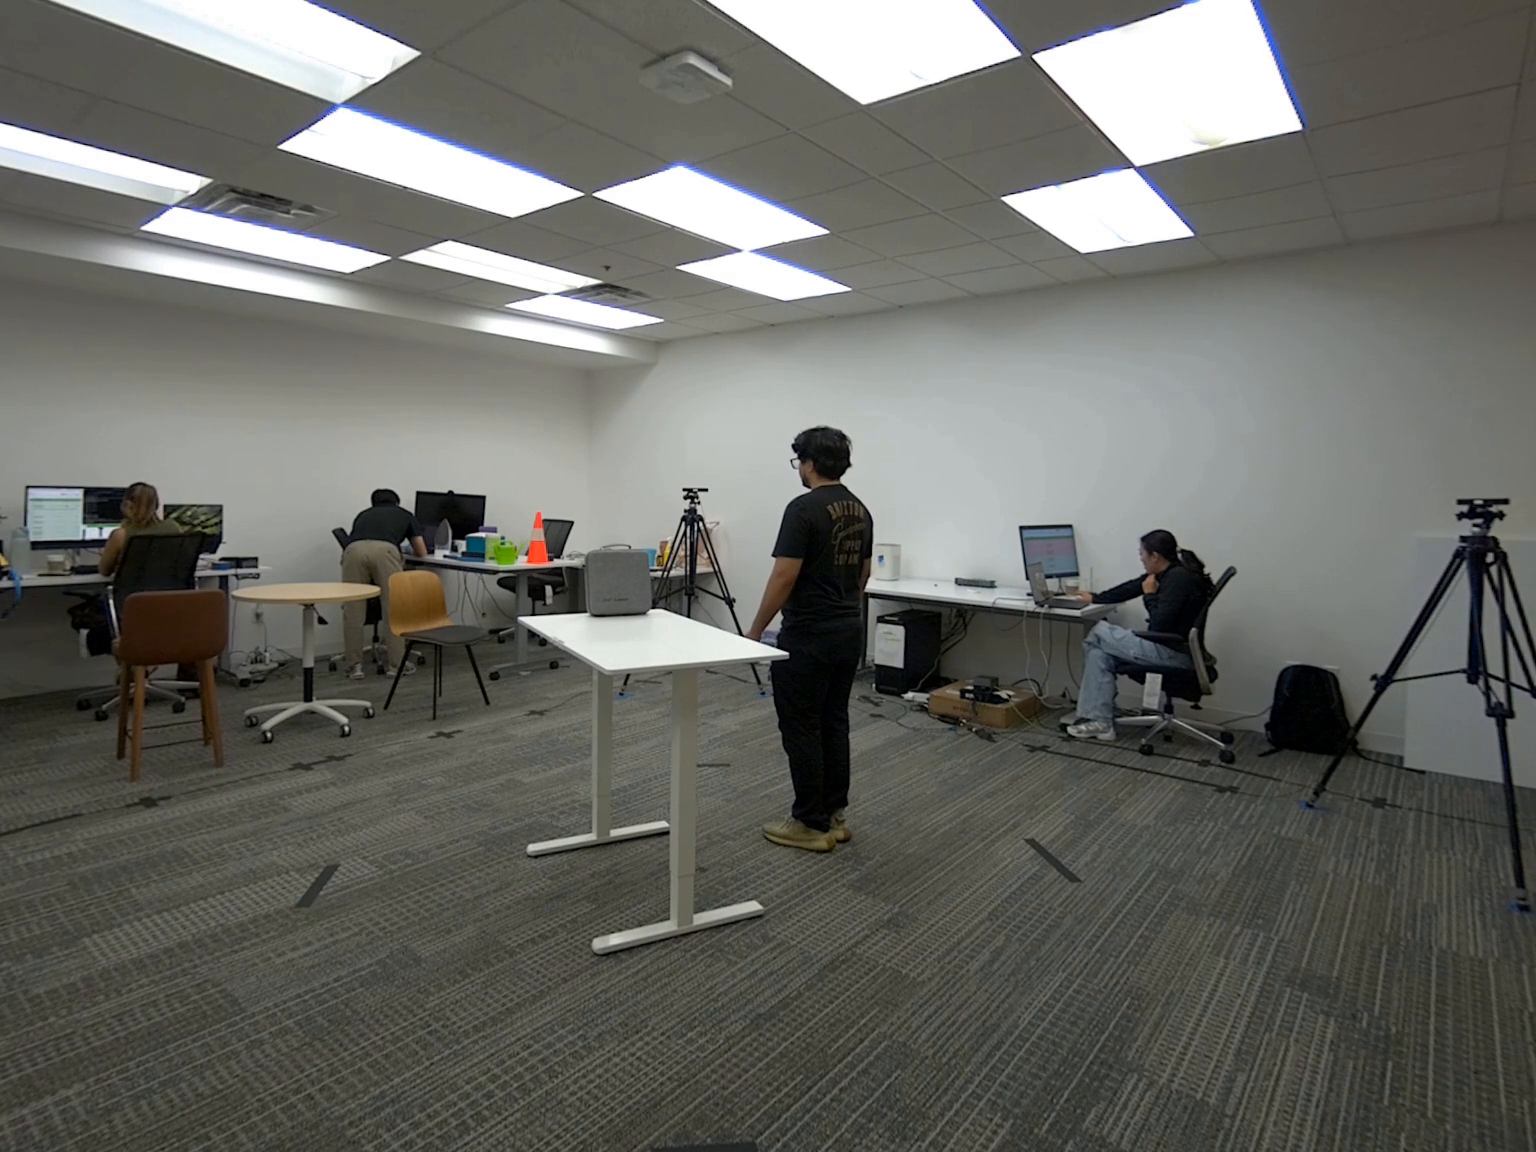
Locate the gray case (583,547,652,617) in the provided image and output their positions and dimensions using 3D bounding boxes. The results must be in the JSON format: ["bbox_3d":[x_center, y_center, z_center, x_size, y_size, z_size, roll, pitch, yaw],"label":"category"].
[{"bbox_3d":[-0.607,0.026,3.382,0.251,0.262,0.106,-2,-6,-23],"label":"gray case"}]
